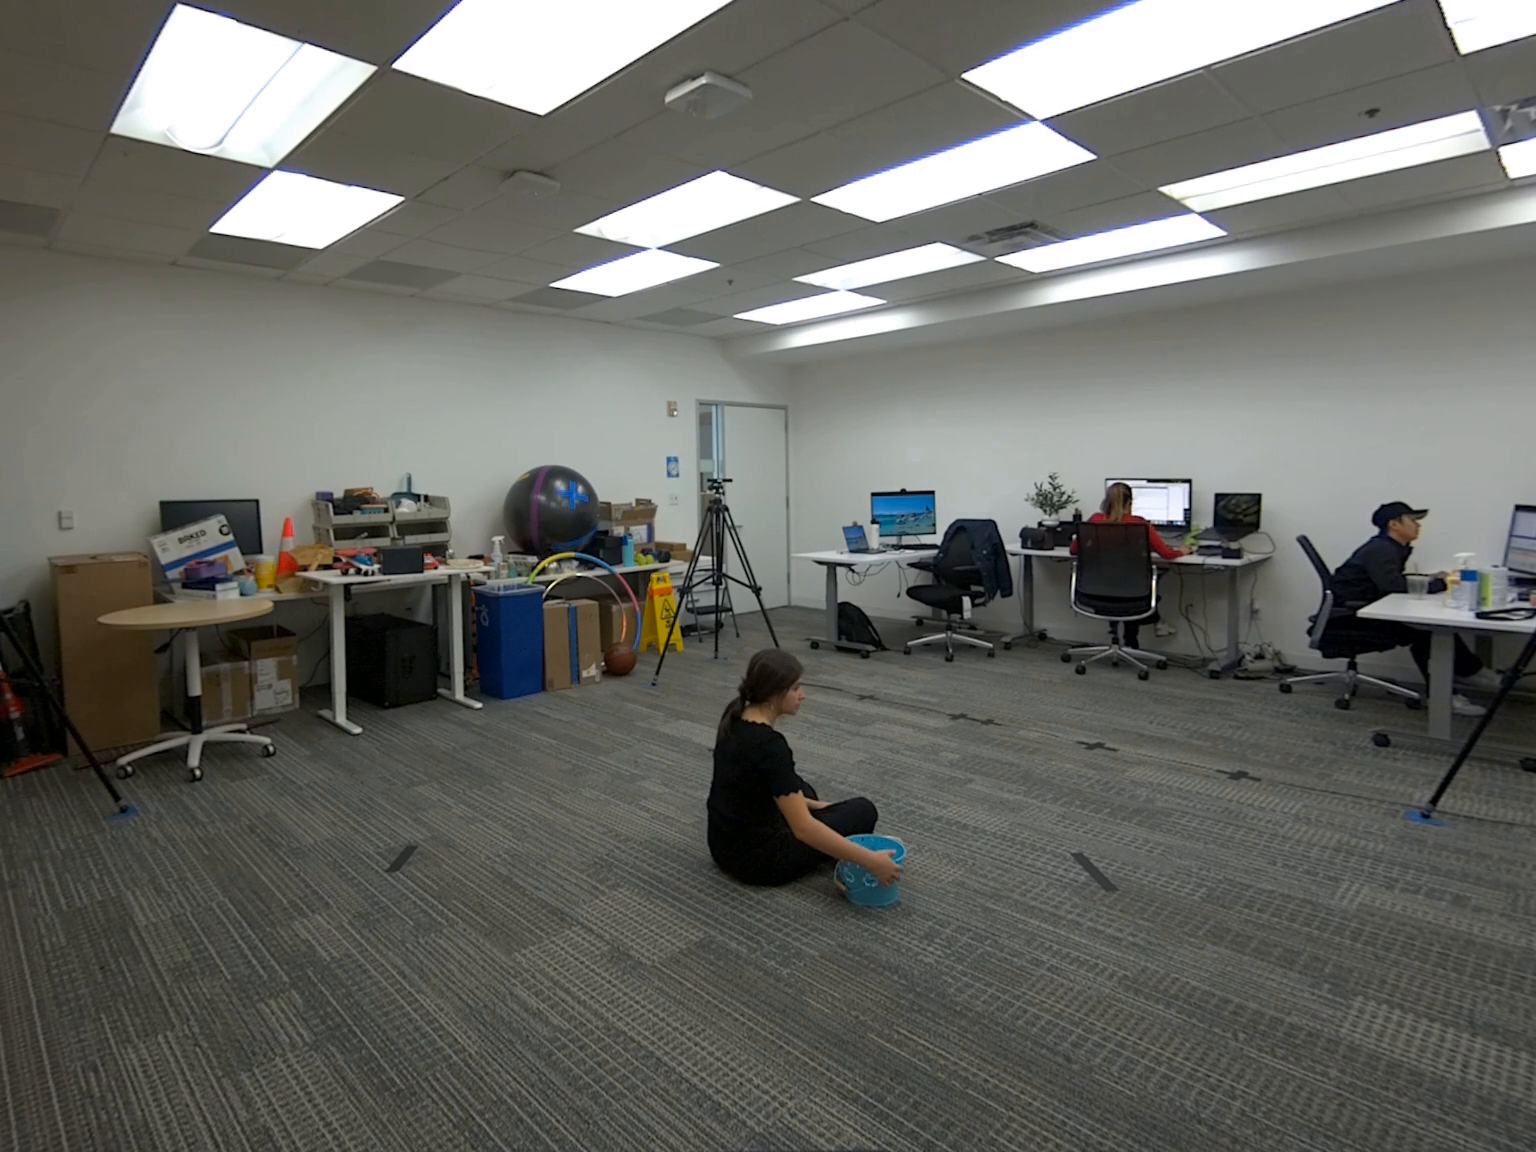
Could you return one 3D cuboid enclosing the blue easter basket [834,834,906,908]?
[{"bbox_3d":[0.342,0.988,2.854,0.243,0.155,0.245,-5,8,-1],"label":"blue easter basket"}]
